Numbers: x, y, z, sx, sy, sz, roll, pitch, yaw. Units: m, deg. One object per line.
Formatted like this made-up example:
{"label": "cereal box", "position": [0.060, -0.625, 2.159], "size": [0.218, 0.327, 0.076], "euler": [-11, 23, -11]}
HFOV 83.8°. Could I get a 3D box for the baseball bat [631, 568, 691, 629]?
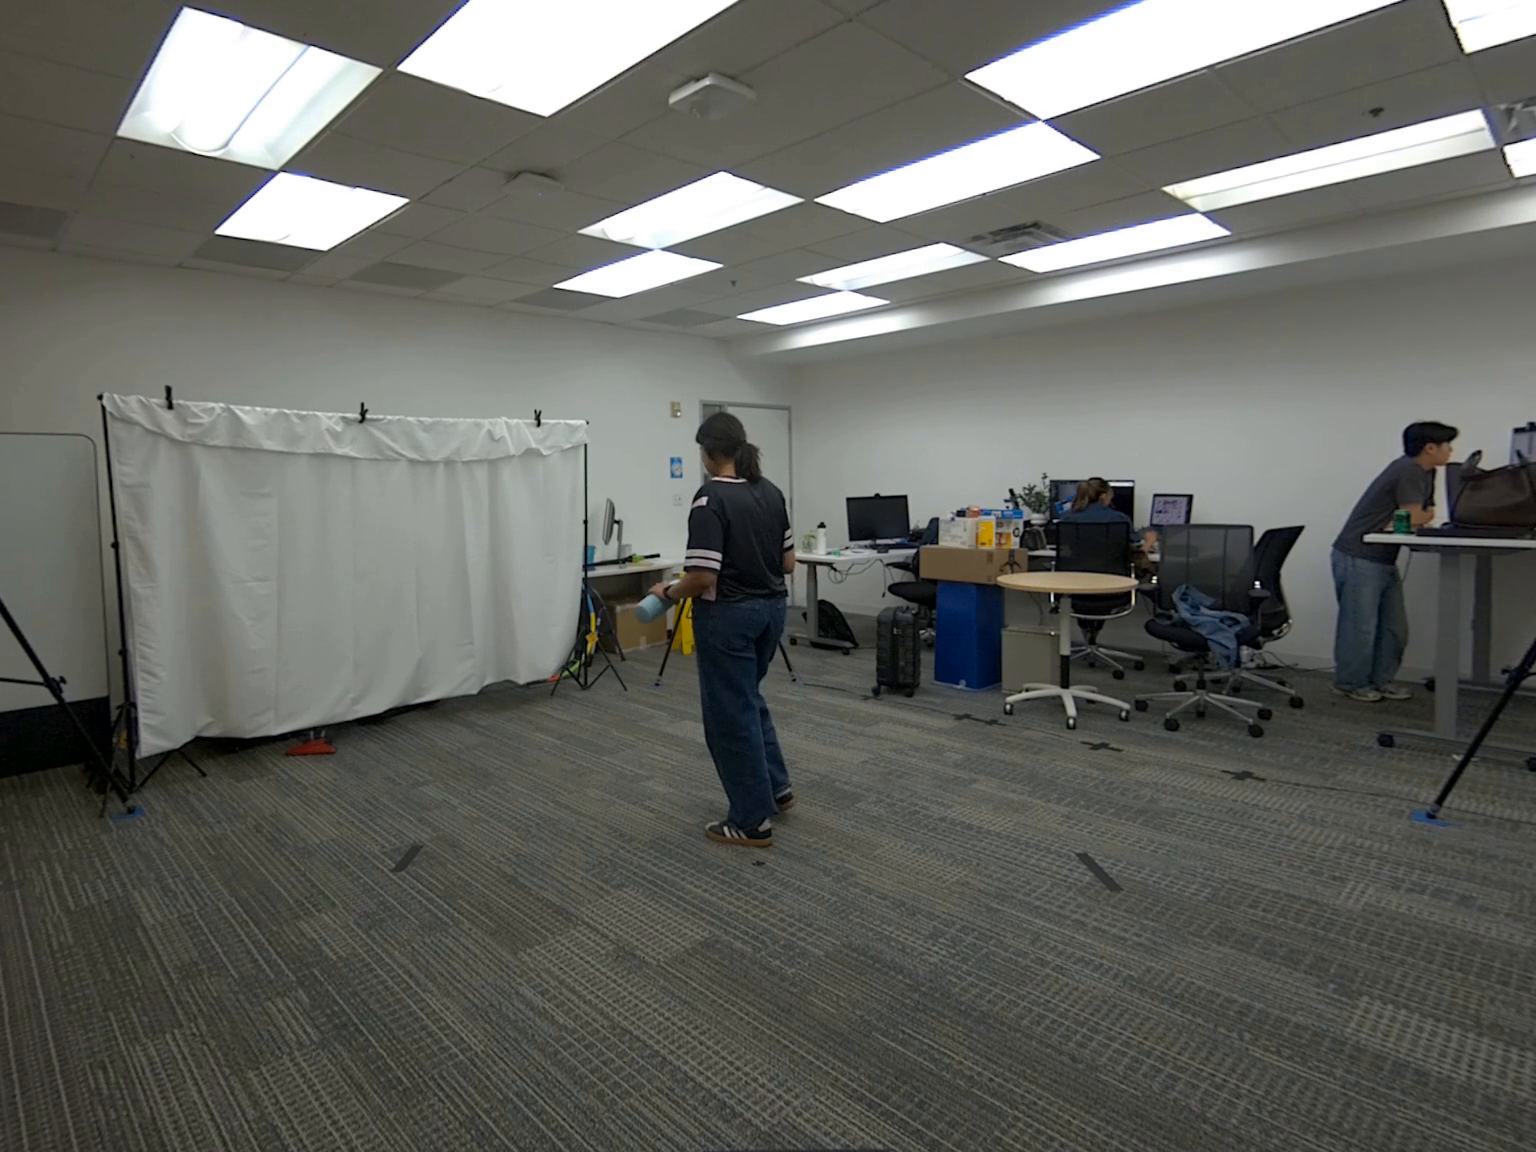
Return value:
{"label": "baseball bat", "position": [-0.331, 0.035, 3.428], "size": [0.091, 0.087, 0.539], "euler": [2, 27, 35]}
